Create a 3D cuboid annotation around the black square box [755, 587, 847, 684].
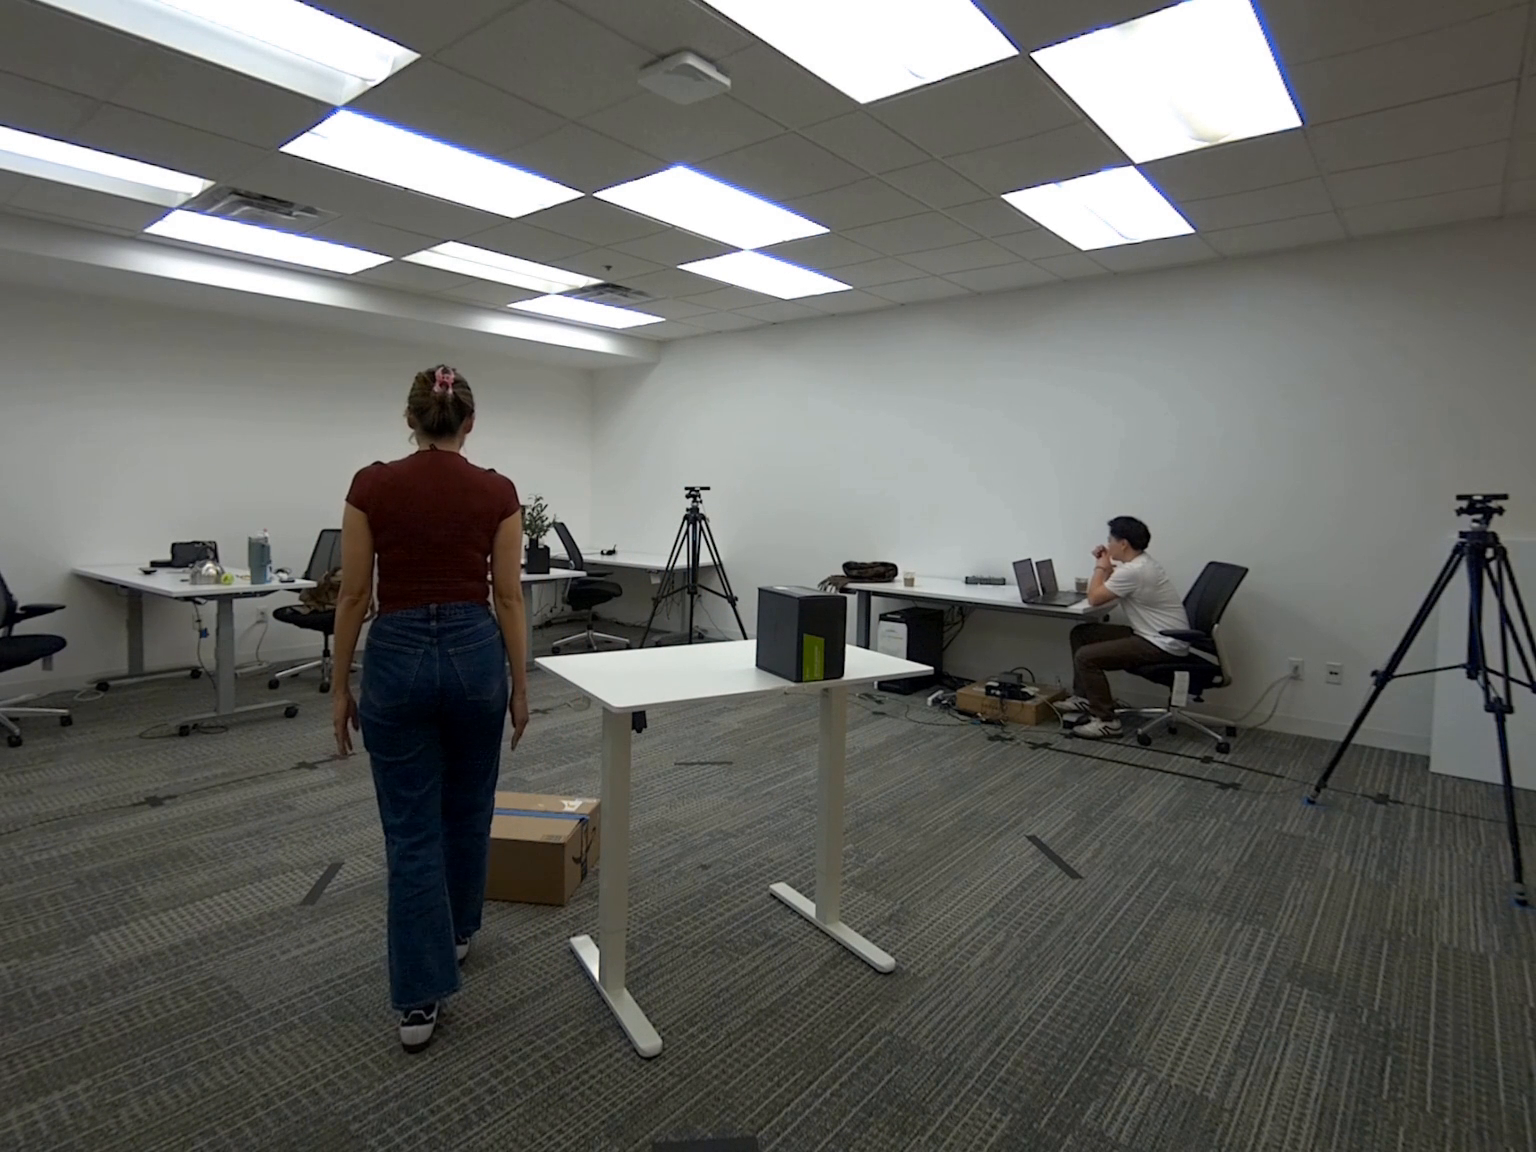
[{"bbox_3d":[0.079,0.153,2.351,0.152,0.227,0.224,0,6,-31],"label":"black square box"}]
